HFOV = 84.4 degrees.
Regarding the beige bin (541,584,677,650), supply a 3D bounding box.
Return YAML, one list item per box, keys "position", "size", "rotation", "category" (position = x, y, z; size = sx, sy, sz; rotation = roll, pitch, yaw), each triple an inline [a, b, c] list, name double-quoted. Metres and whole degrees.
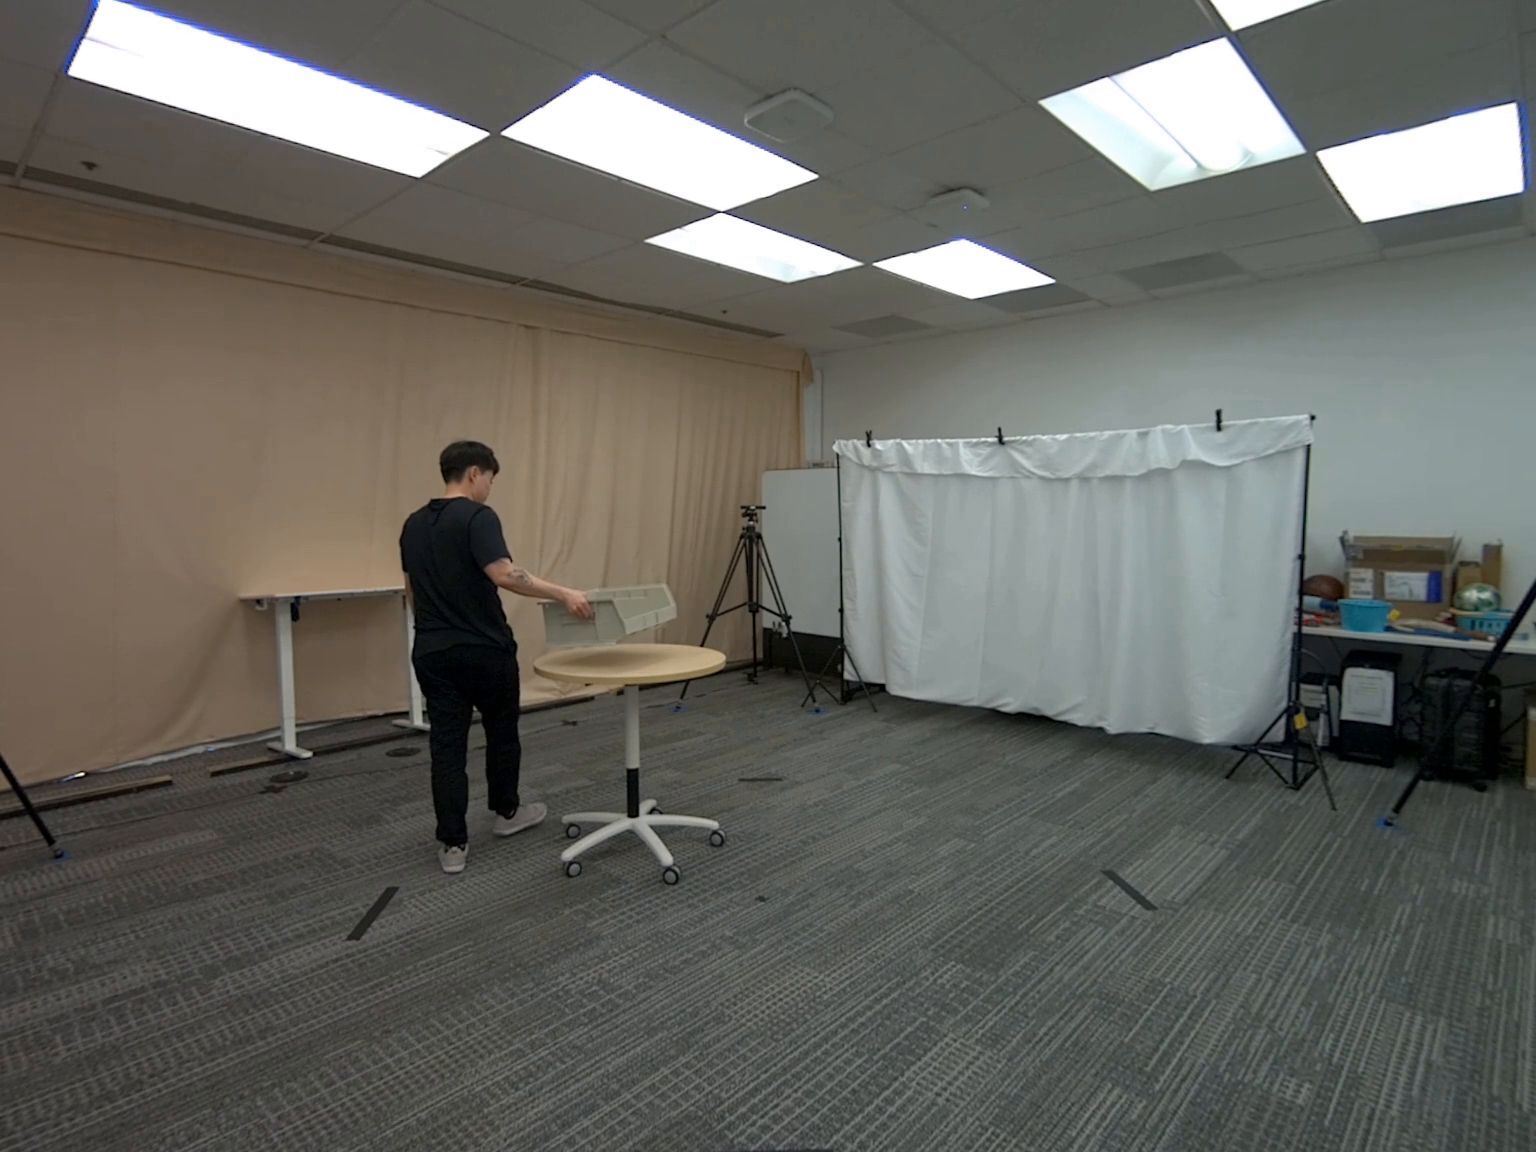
- position: [-0.623, 0.155, 3.338]
  size: [0.386, 0.188, 0.414]
  rotation: [-5, 4, 23]
  category: "beige bin"
